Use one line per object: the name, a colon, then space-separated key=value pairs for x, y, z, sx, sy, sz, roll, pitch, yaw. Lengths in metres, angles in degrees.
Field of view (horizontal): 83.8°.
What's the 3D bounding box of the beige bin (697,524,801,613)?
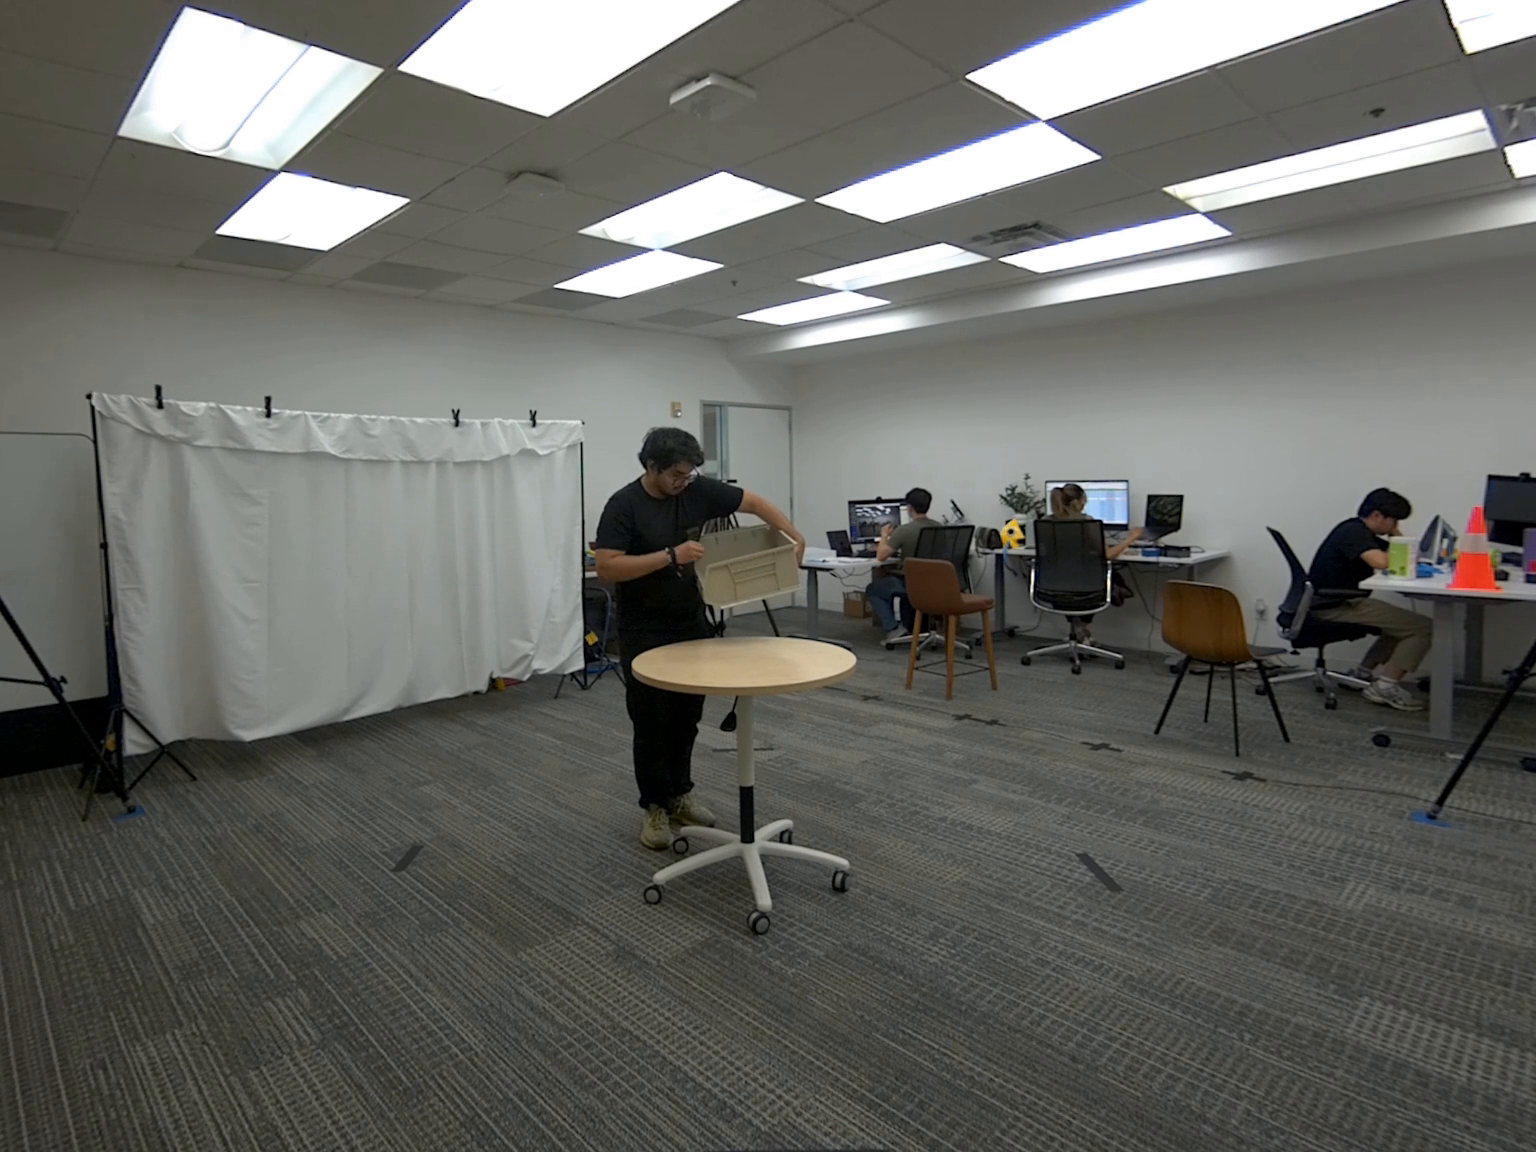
beige bin: x=-0.104 y=-0.045 z=3.320 sx=0.375 sy=0.186 sz=0.431 roll=-12 pitch=15 yaw=-9
